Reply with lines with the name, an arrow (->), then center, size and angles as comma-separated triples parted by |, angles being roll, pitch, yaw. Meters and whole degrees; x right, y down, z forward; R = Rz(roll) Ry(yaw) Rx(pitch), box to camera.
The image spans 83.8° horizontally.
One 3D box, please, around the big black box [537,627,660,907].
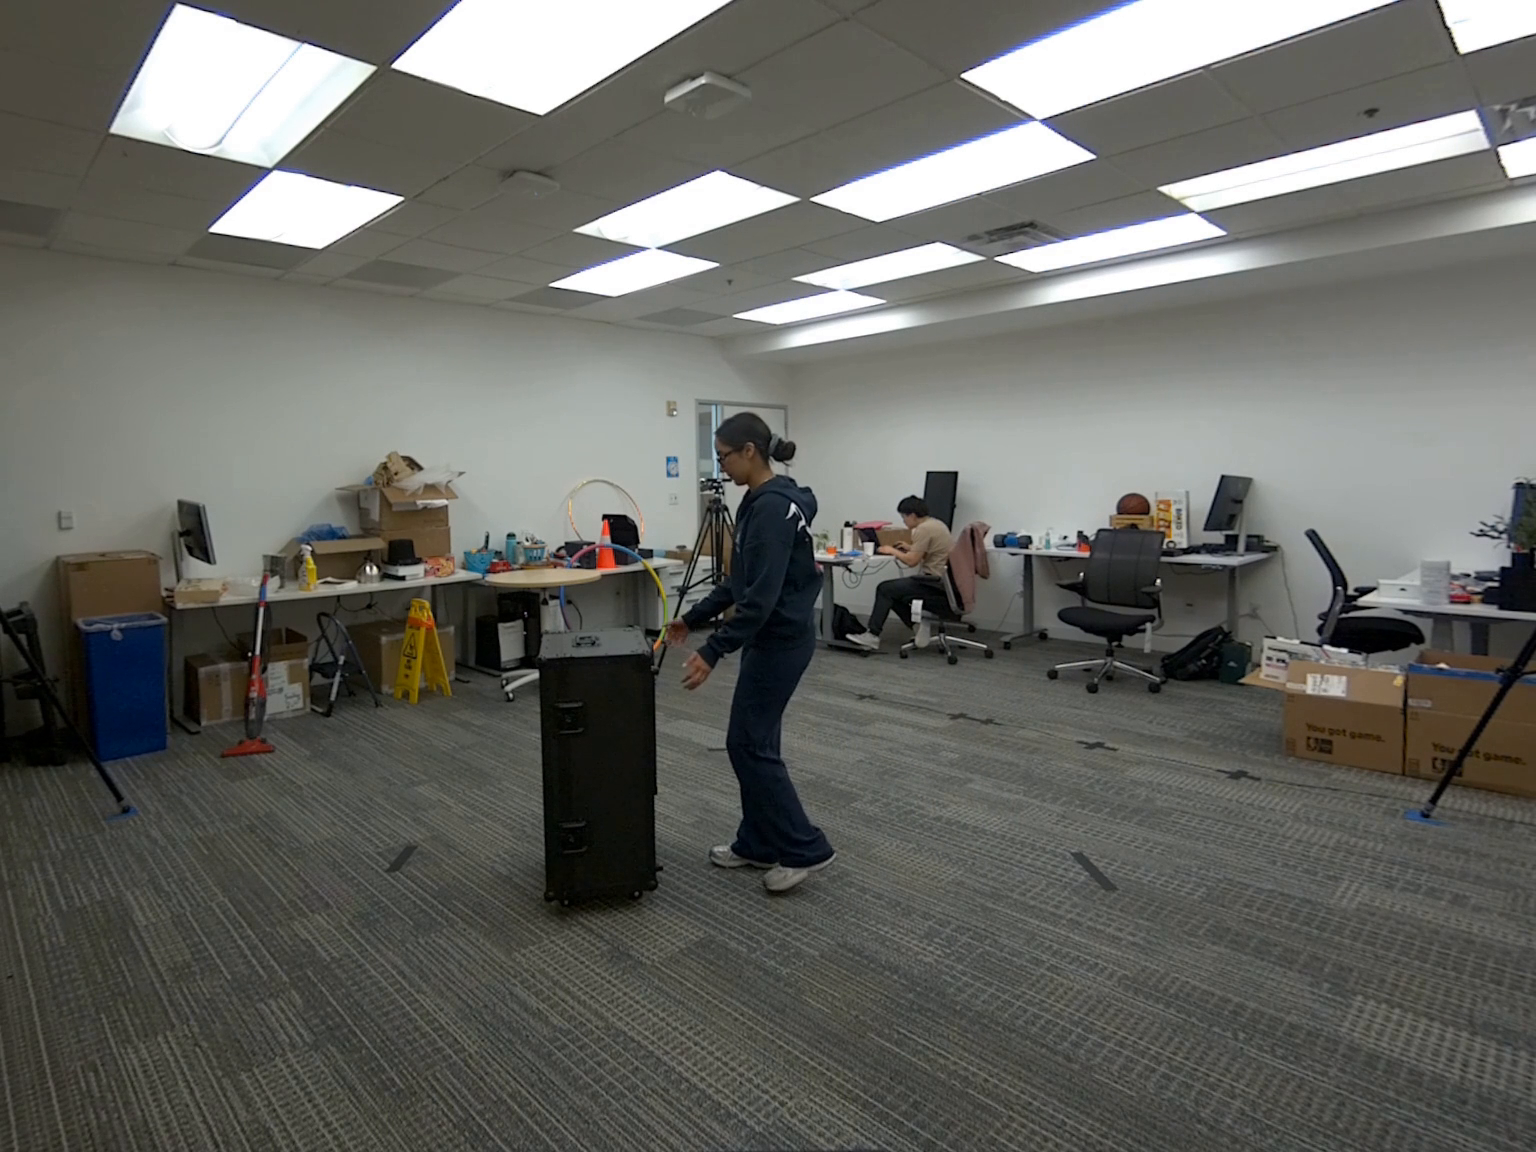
big black box -> -0.584, 0.645, 2.960 | 0.391, 0.859, 0.529 | 0, 3, -13
